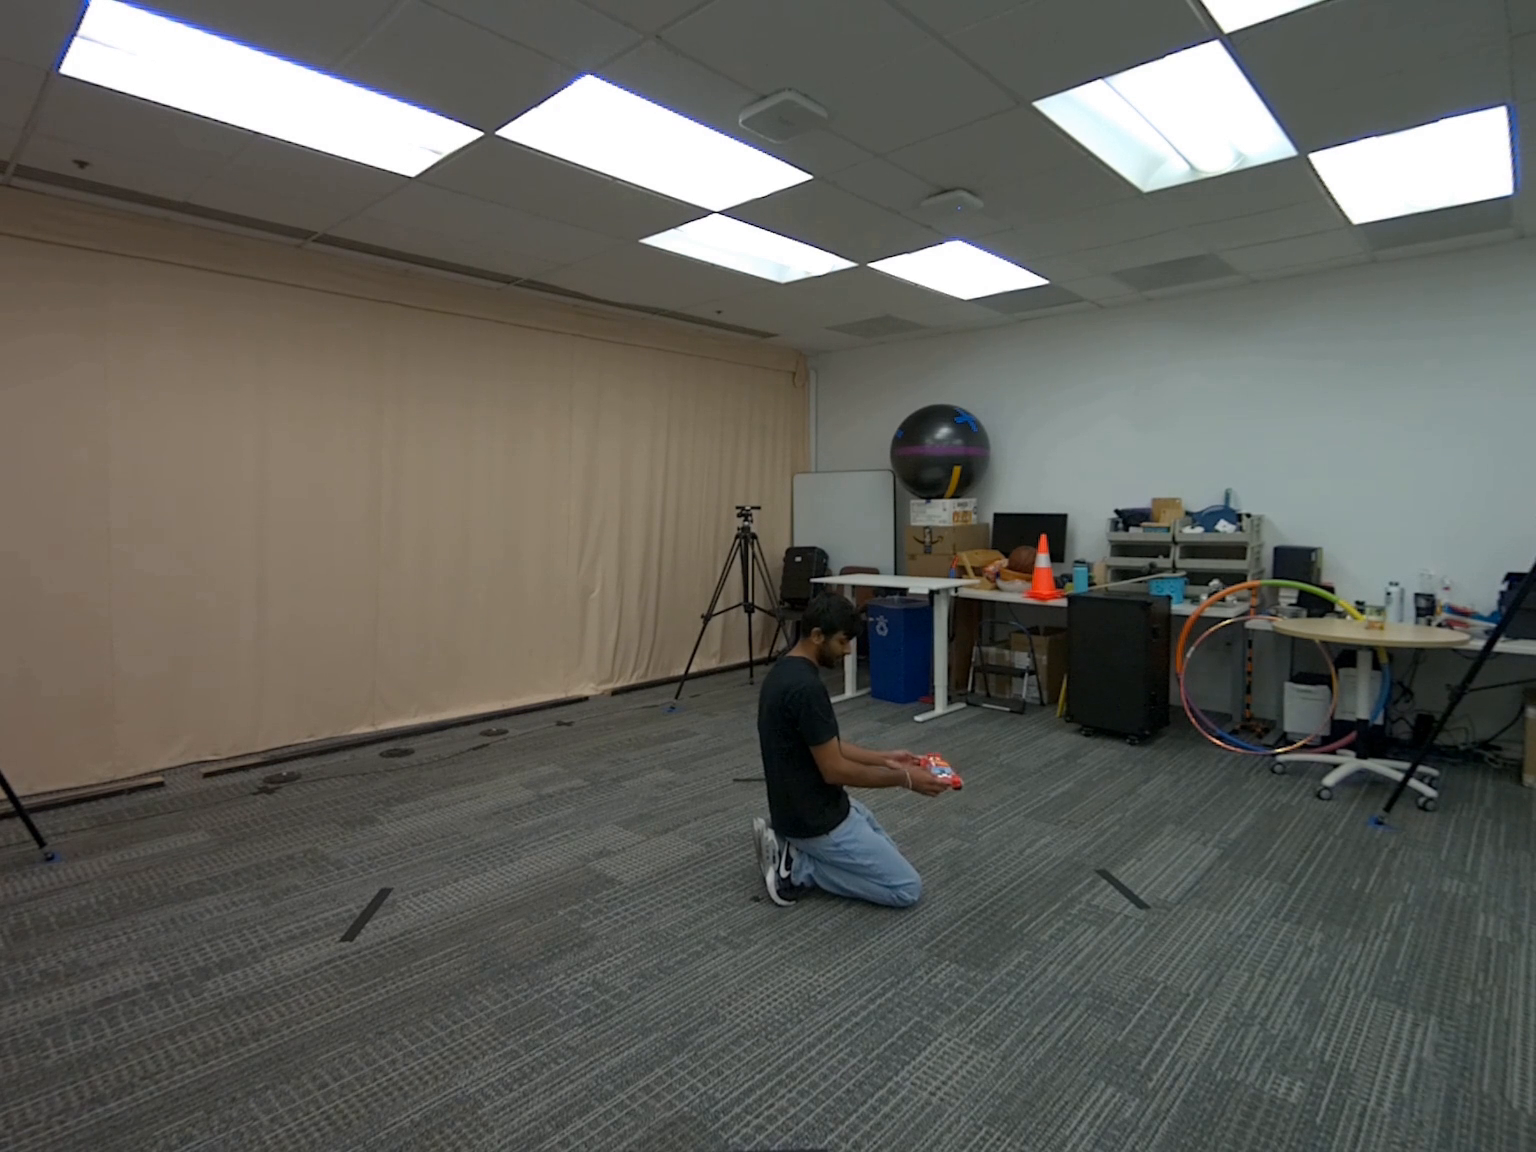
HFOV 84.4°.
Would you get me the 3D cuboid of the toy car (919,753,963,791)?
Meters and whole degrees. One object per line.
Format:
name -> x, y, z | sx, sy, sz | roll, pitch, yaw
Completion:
toy car -> 0.623, 0.721, 3.054 | 0.130, 0.082, 0.257 | 1, 14, -1
